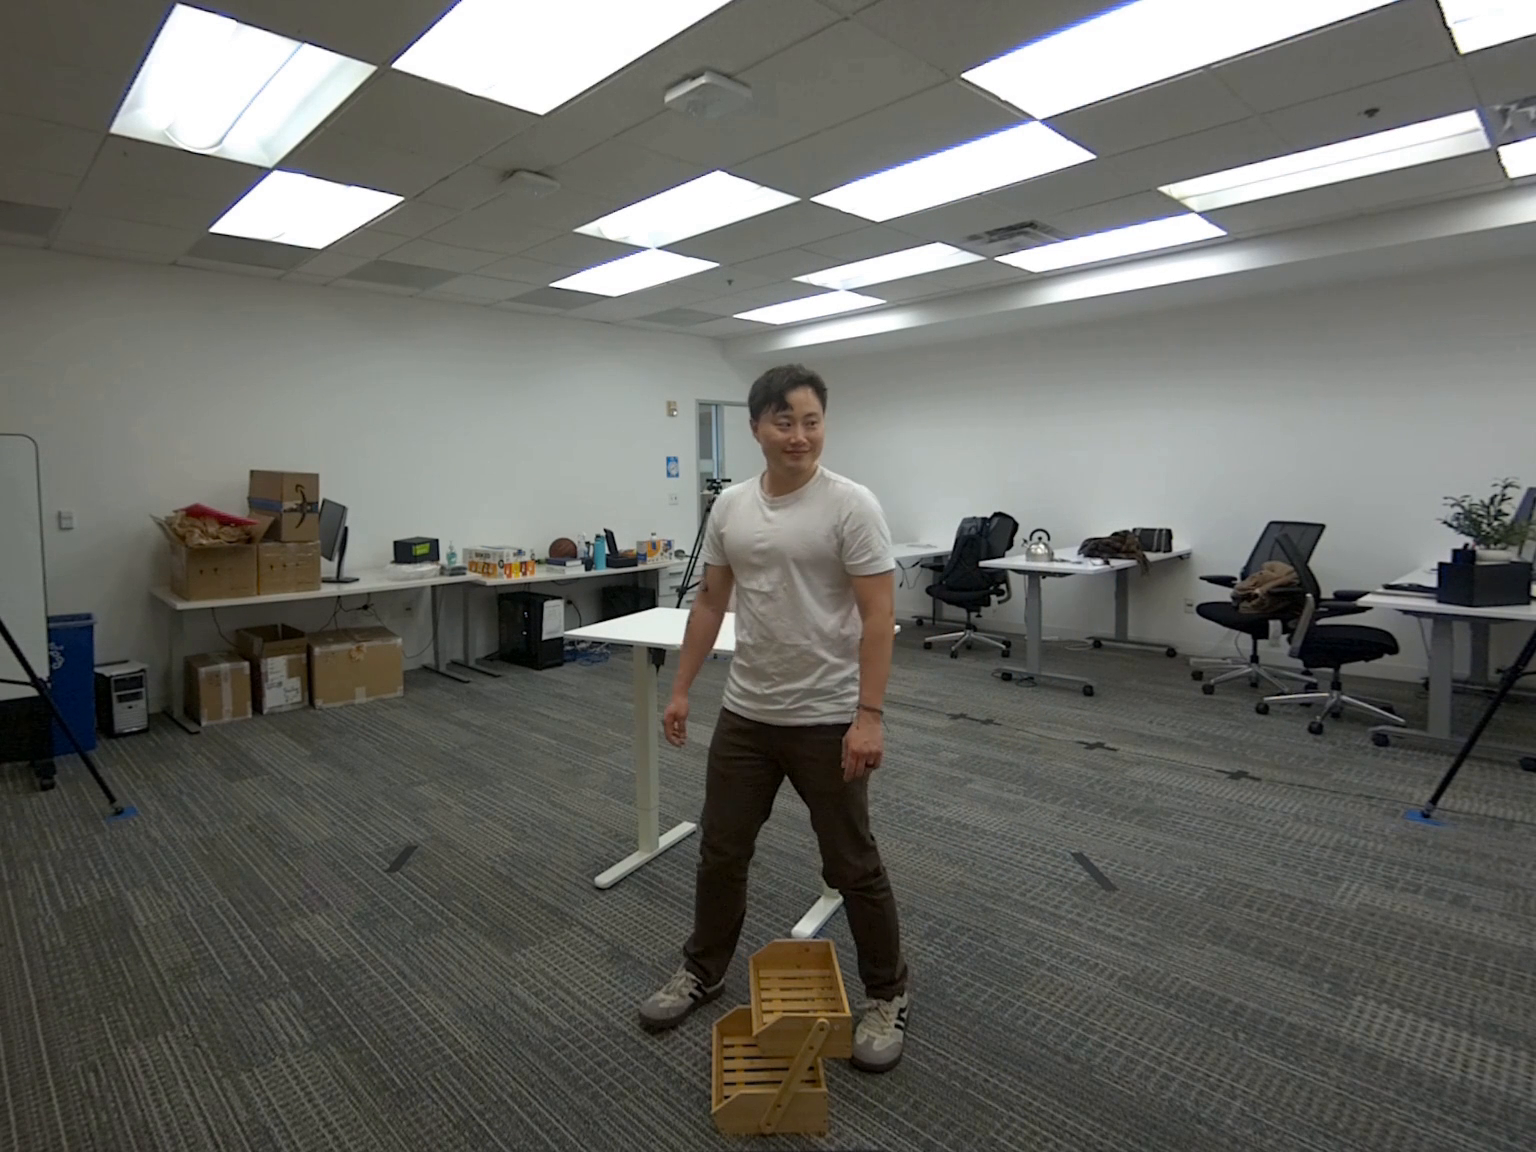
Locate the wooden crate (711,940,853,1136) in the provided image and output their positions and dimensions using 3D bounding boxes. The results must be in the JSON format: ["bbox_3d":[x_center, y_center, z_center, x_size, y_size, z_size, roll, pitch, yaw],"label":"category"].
[{"bbox_3d":[0.021,1.049,1.956,0.301,0.272,0.327,-1,5,-4],"label":"wooden crate"}]
